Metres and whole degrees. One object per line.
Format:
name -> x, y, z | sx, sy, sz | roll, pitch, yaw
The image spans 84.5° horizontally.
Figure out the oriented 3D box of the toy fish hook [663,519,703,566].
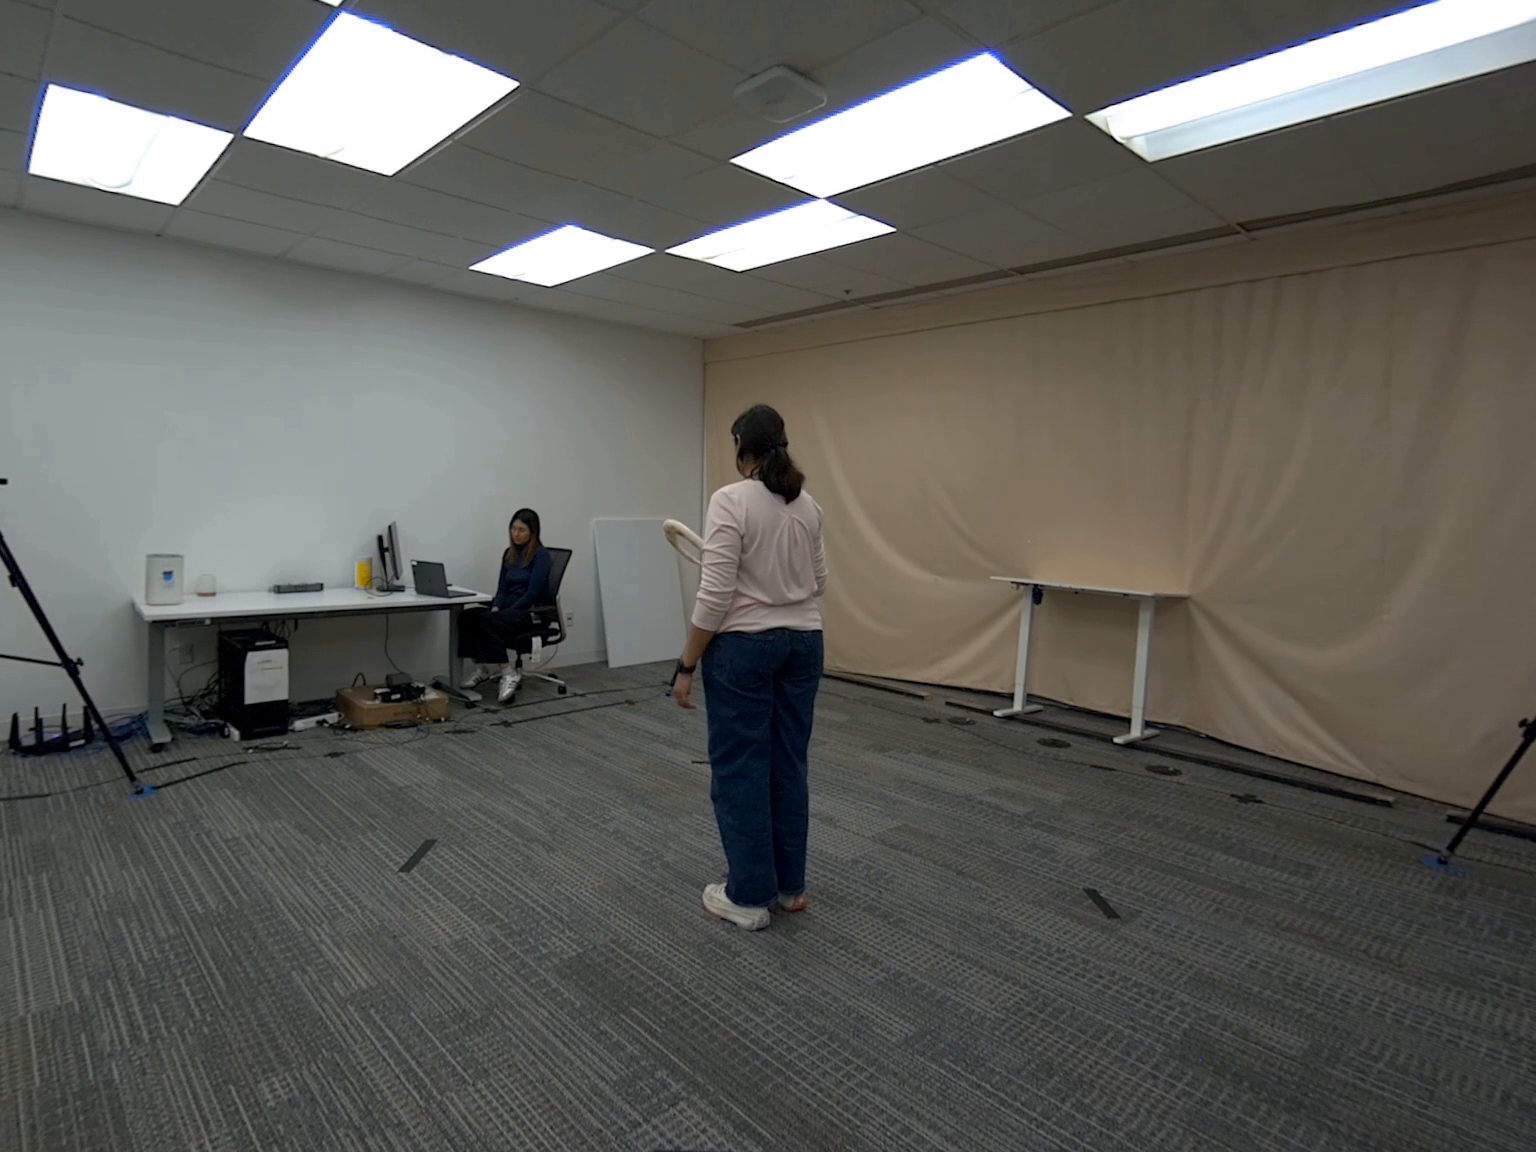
toy fish hook -> -0.226, -0.055, 3.303 | 0.516, 0.048, 0.220 | 38, -21, 18
